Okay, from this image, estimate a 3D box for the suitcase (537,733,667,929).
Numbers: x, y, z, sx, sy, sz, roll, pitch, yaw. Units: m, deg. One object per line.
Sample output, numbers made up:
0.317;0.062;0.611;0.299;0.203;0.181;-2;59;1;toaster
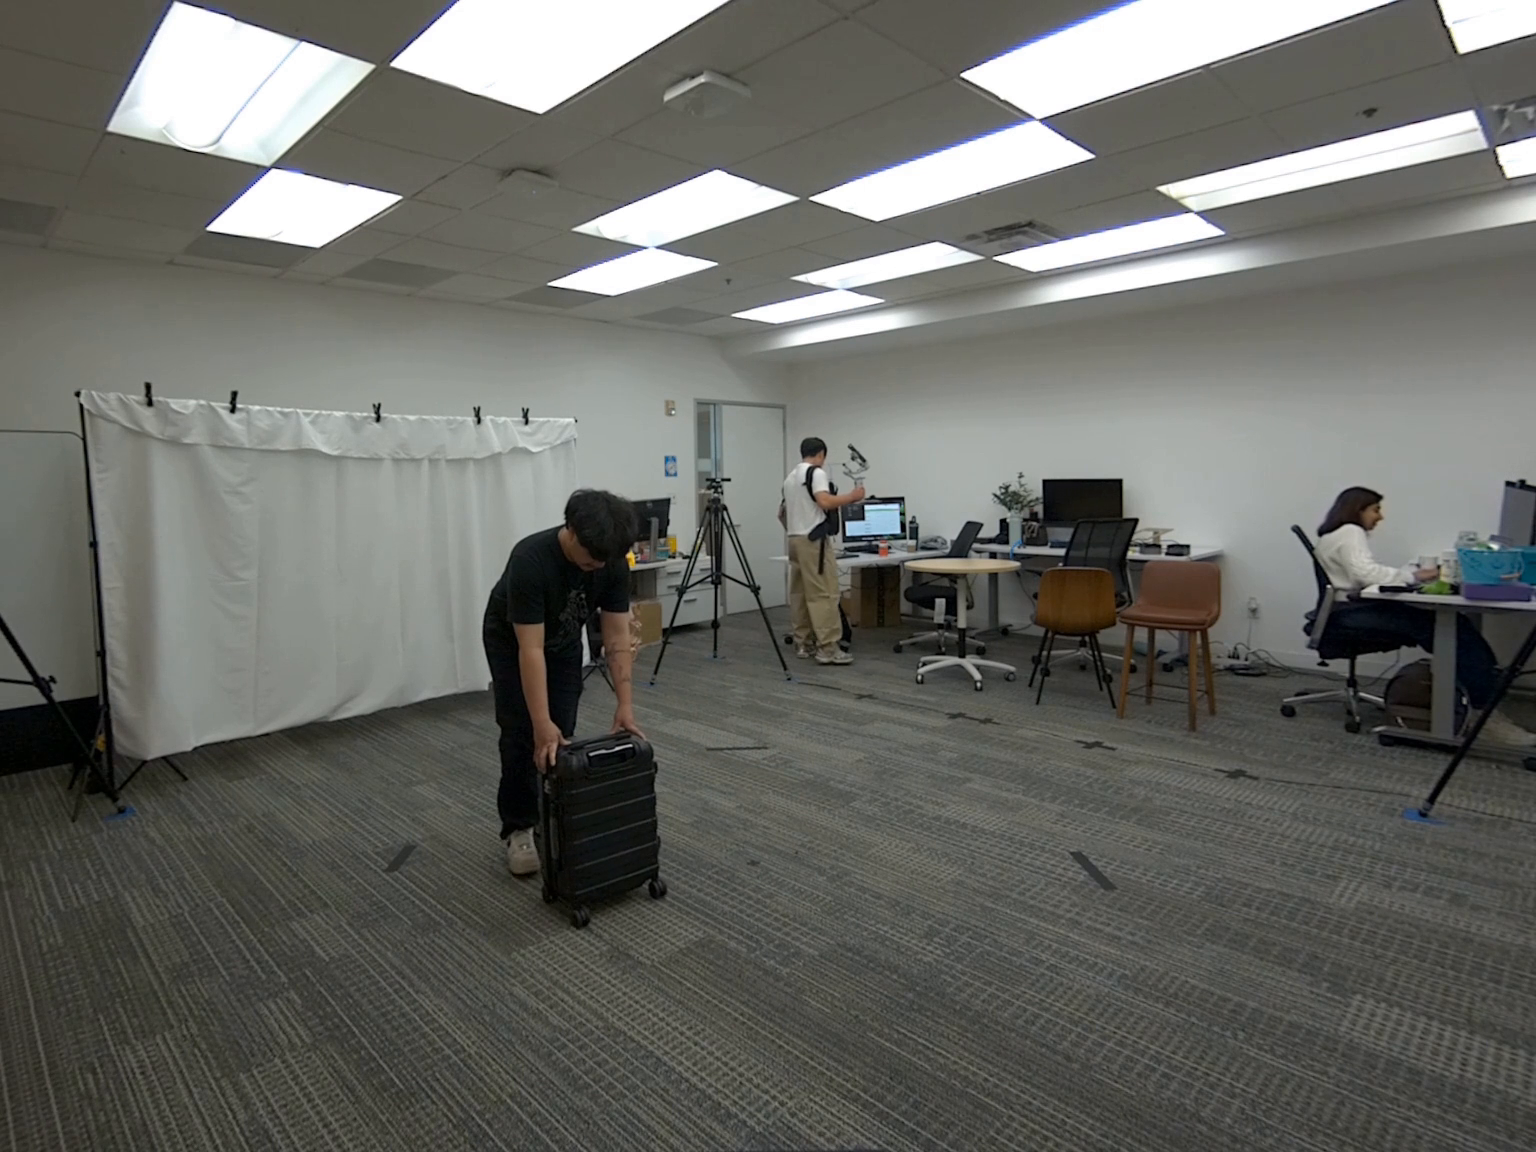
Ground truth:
-0.567;0.808;2.859;0.366;0.548;0.255;-4;3;-38;suitcase
